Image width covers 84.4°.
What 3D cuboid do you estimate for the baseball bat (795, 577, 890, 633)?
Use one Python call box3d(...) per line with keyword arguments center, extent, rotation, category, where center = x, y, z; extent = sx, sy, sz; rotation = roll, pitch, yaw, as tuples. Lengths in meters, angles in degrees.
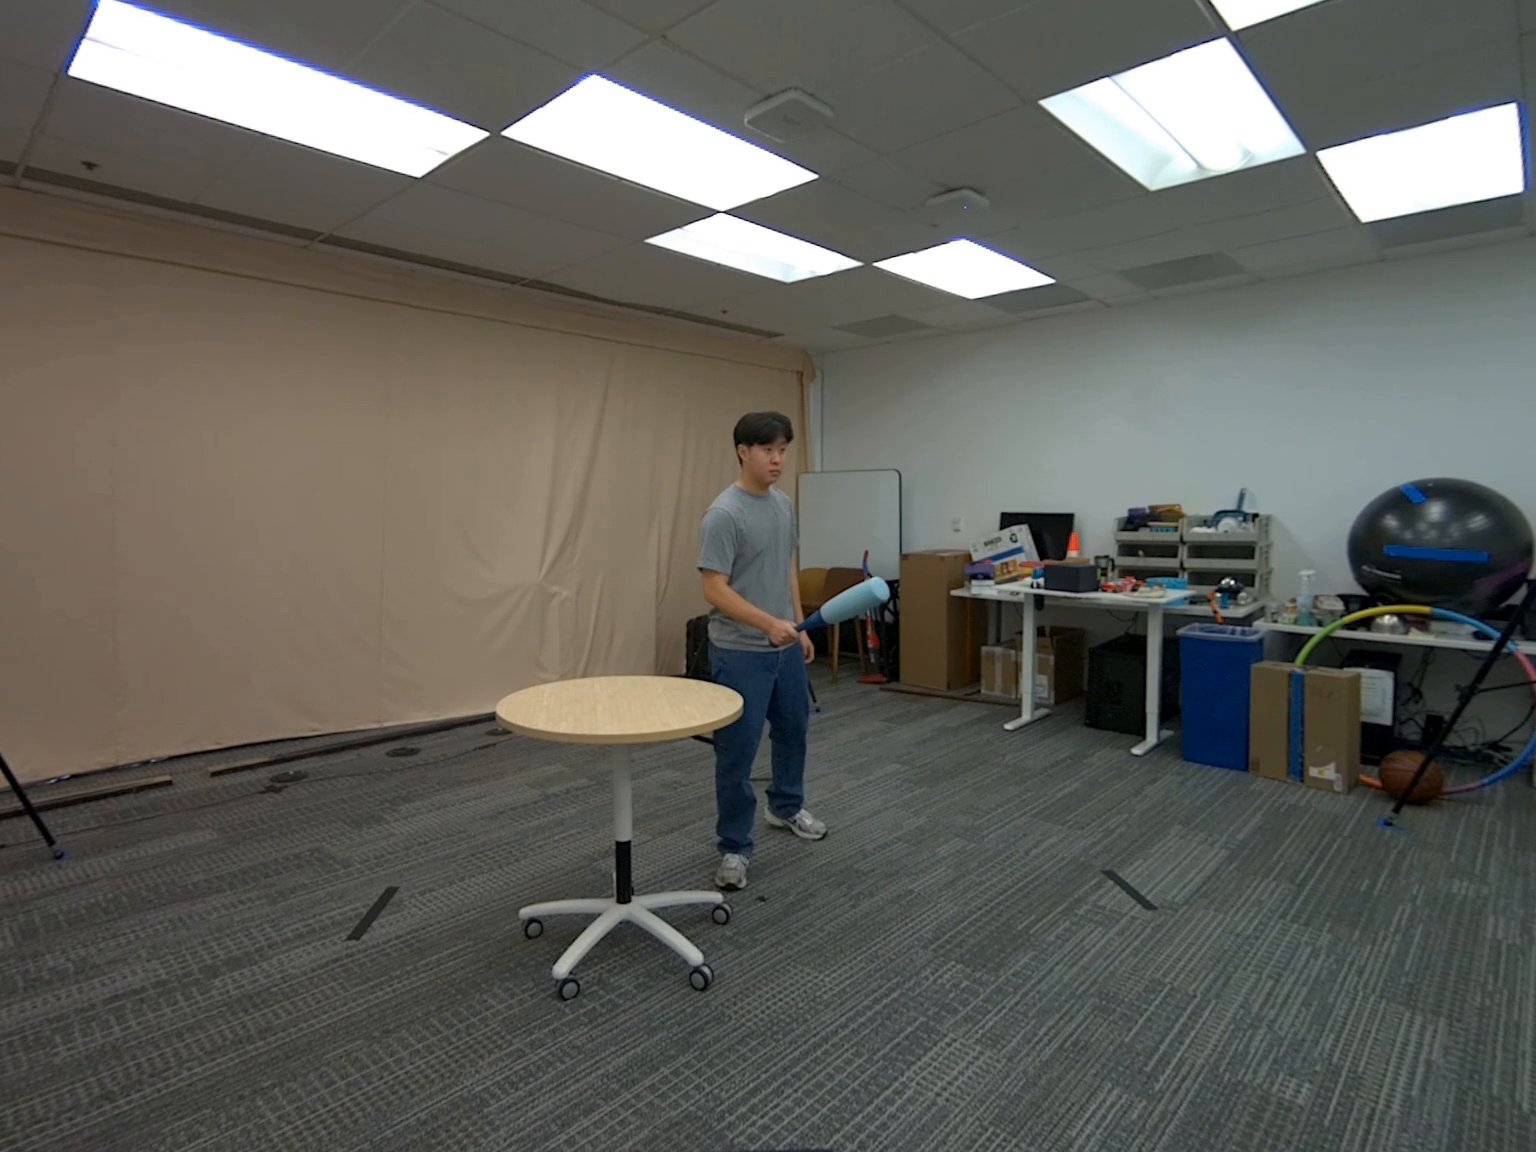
box3d(center=(0.186, 0.142, 2.841), extent=(0.086, 0.090, 0.552), rotation=(-3, -19, -42), category="baseball bat")
